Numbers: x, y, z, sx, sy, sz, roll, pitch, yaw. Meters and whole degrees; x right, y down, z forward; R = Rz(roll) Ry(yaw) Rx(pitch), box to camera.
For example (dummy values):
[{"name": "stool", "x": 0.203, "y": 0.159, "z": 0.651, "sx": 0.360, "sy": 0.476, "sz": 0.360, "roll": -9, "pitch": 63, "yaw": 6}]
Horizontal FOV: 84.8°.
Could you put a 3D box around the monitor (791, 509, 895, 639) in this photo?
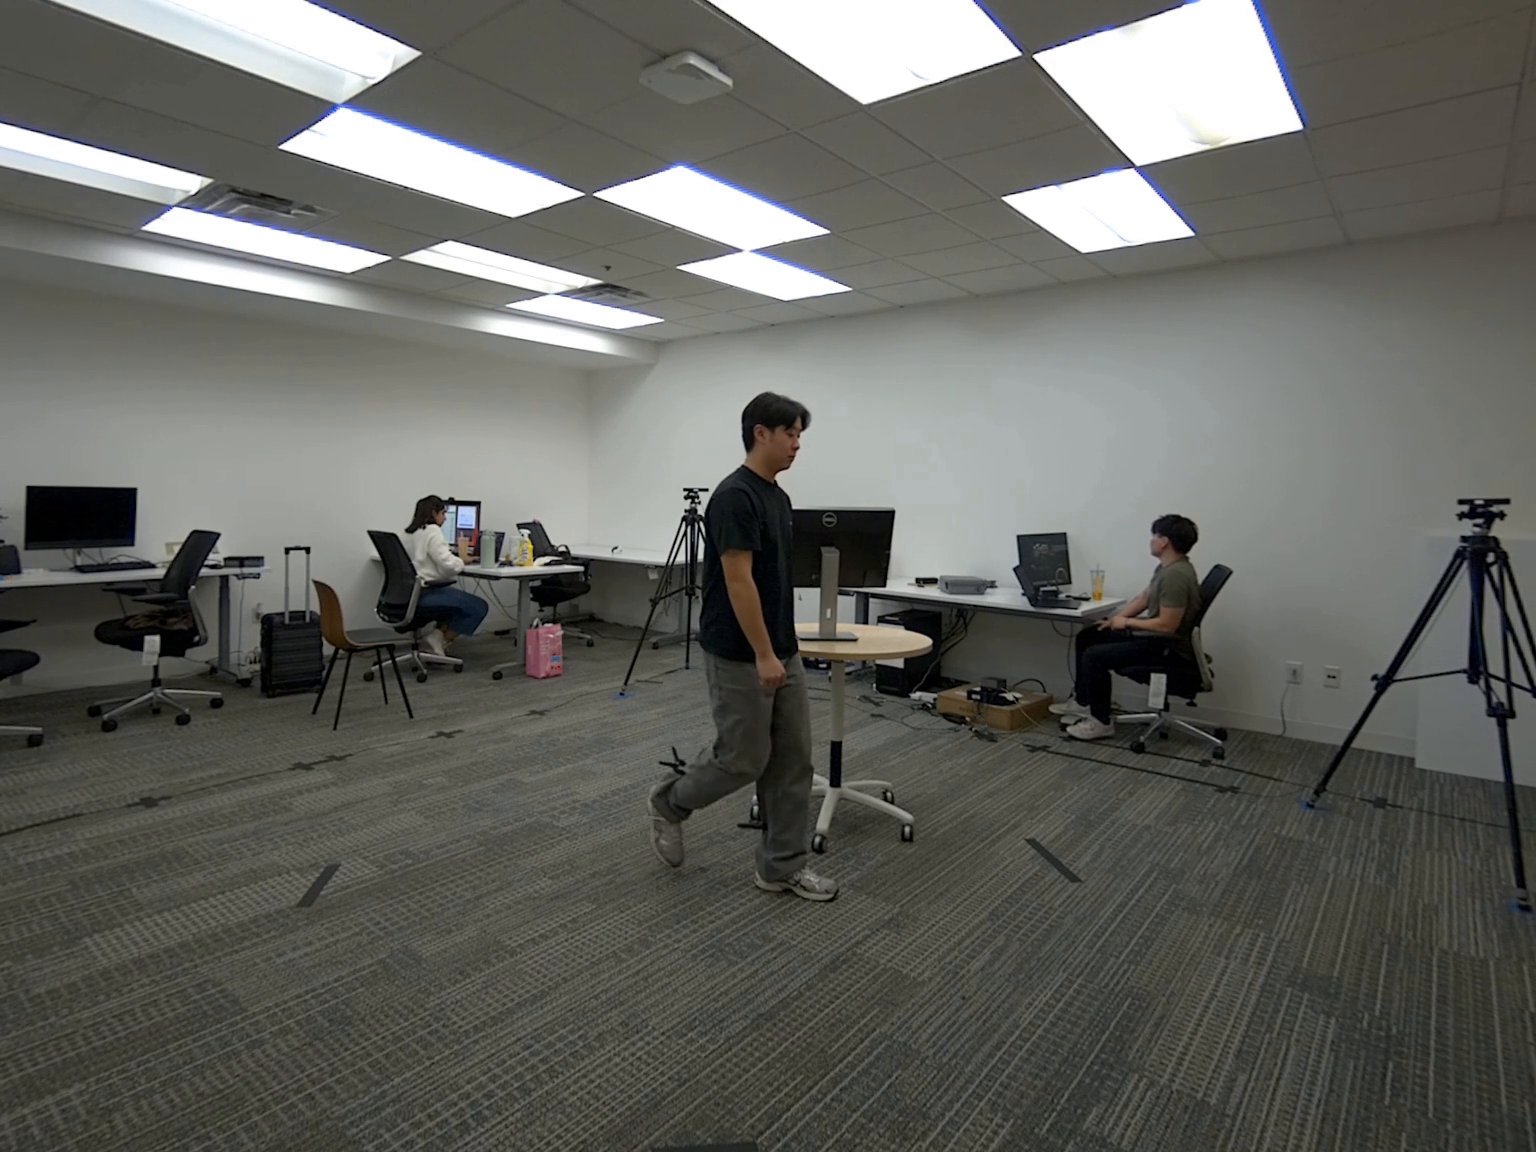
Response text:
[{"name": "monitor", "x": 0.236, "y": -0.014, "z": 3.560, "sx": 0.561, "sy": 0.564, "sz": 0.223, "roll": 1, "pitch": 4, "yaw": -2}]
